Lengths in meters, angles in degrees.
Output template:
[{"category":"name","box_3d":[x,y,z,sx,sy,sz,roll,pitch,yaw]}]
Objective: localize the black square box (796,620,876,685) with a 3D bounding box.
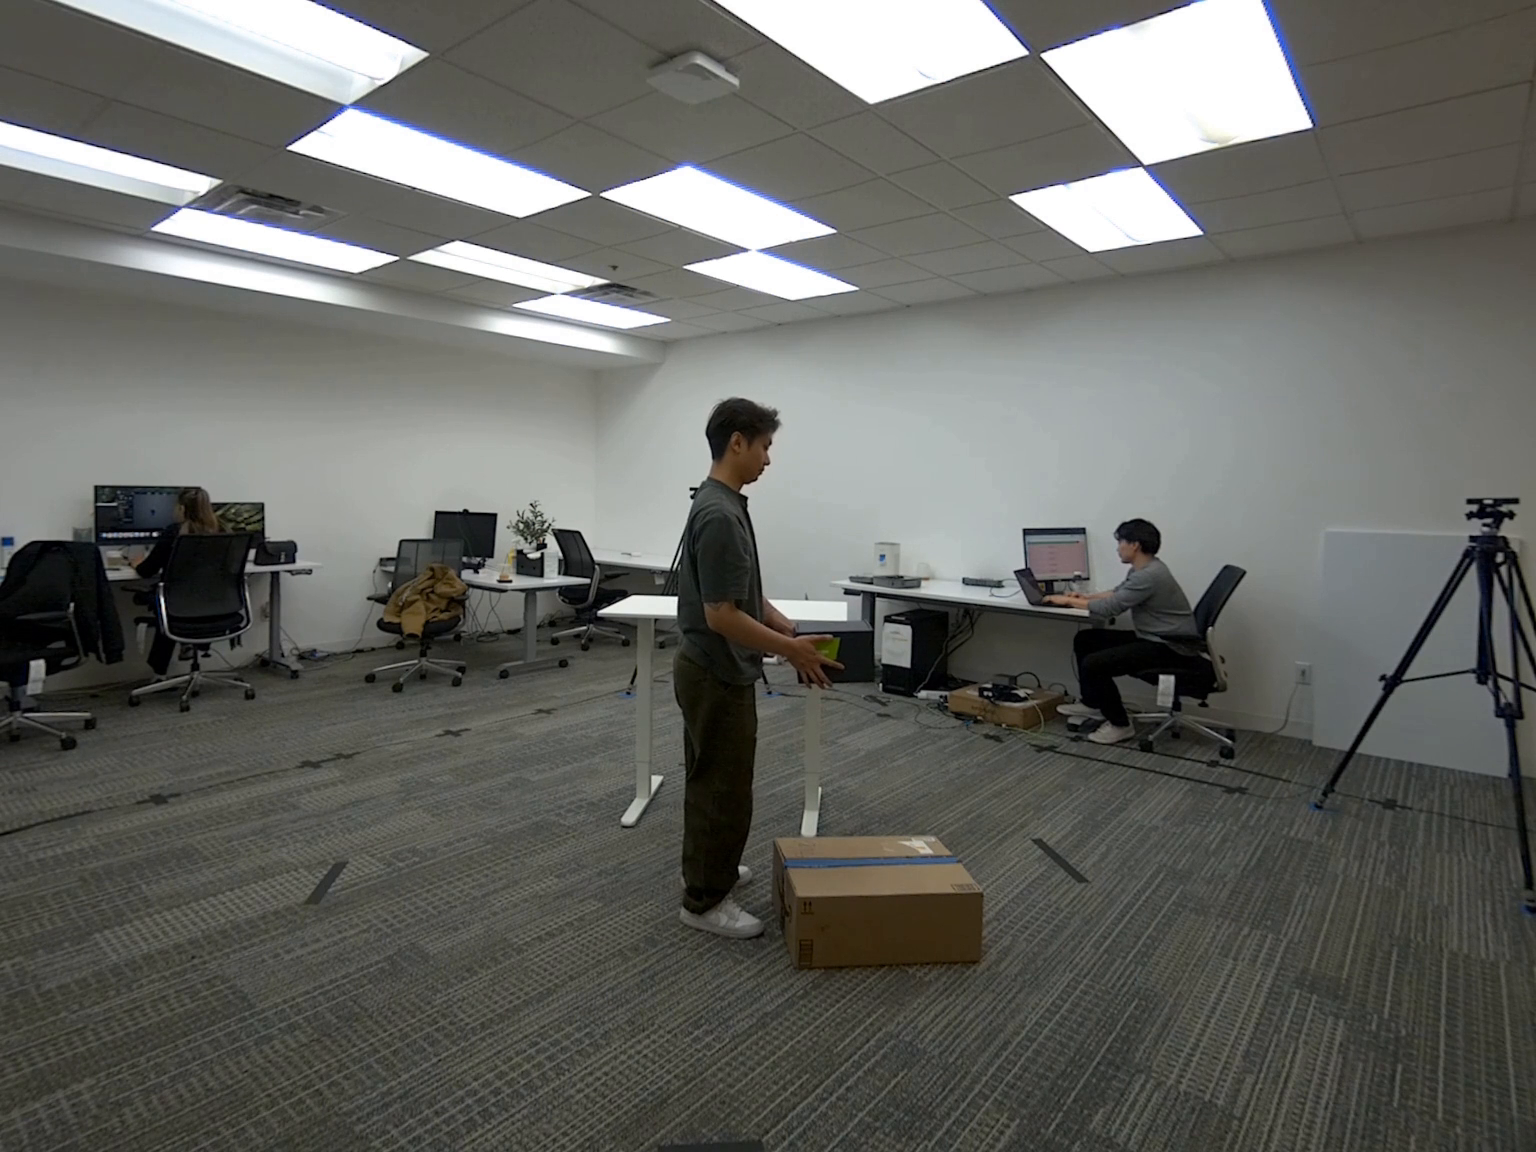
[{"category":"black square box","box_3d":[0.195,0.227,2.623,0.228,0.155,0.217,-2,4,2]}]
